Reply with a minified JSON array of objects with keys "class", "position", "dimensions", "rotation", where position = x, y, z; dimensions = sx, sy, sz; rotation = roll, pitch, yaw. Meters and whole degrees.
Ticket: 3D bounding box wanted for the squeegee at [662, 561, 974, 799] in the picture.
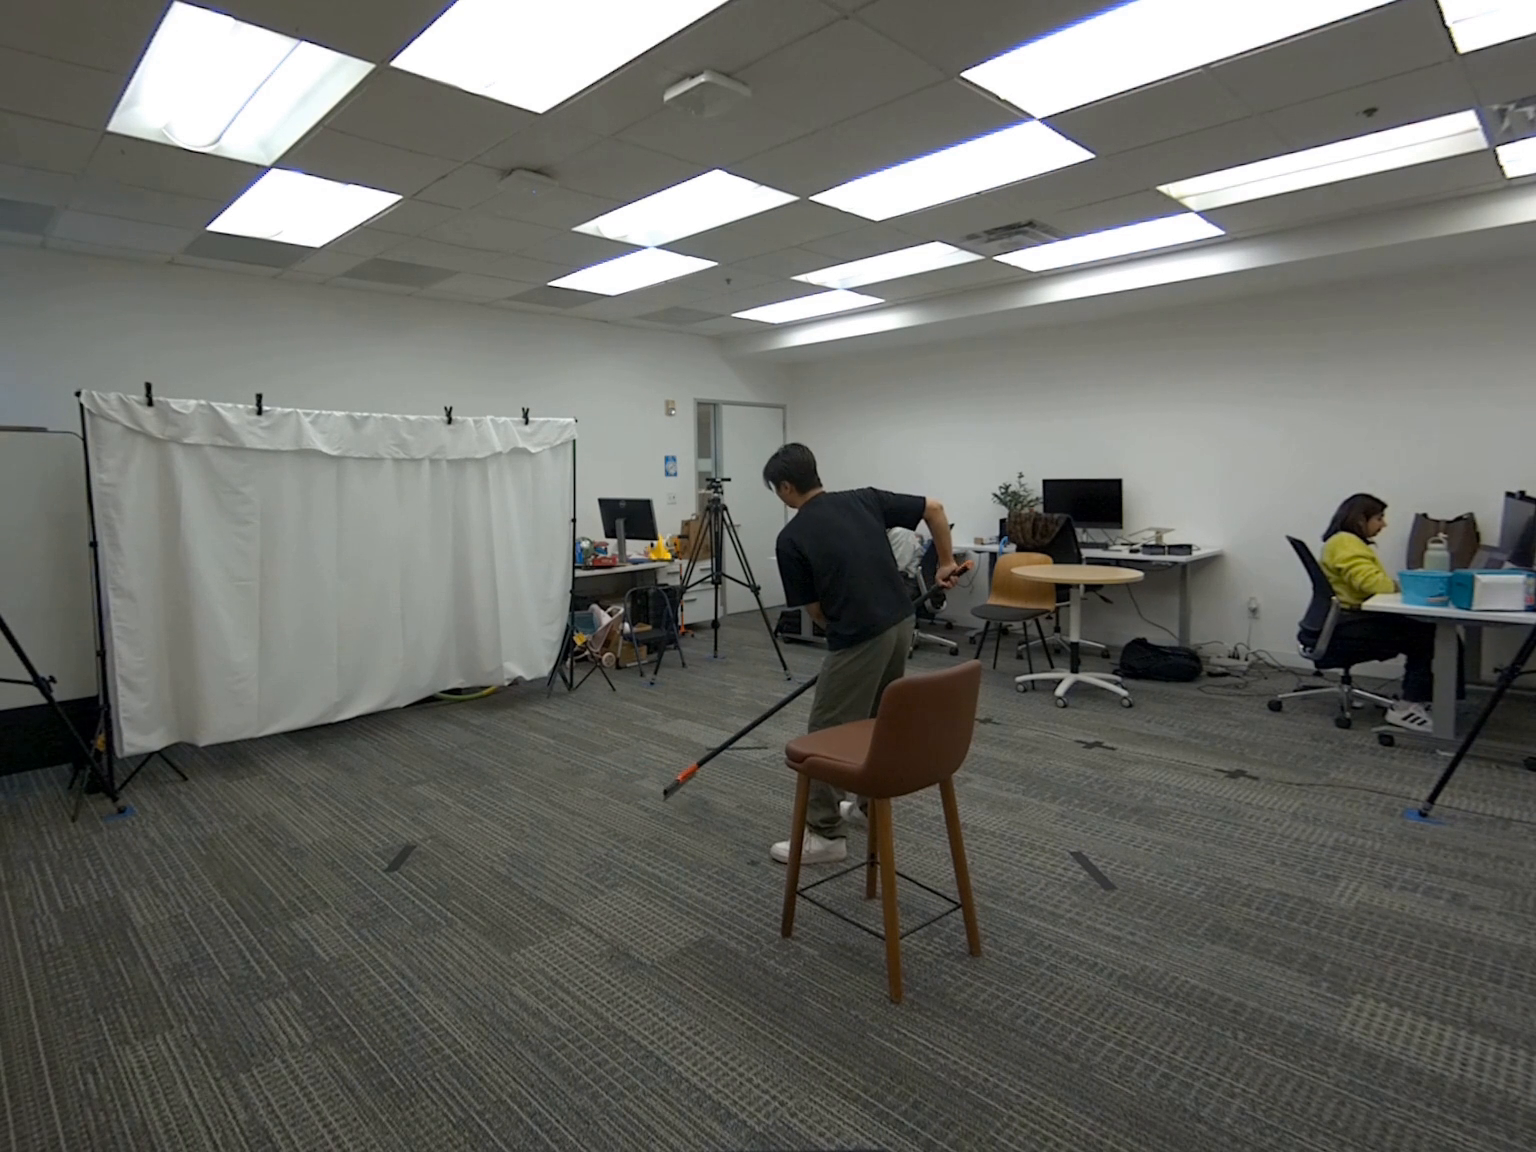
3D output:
[{"class":"squeegee","position":[0.193,0.409,3.490],"dimensions":[1.540,0.053,0.431],"rotation":[-38,-7,10]}]
